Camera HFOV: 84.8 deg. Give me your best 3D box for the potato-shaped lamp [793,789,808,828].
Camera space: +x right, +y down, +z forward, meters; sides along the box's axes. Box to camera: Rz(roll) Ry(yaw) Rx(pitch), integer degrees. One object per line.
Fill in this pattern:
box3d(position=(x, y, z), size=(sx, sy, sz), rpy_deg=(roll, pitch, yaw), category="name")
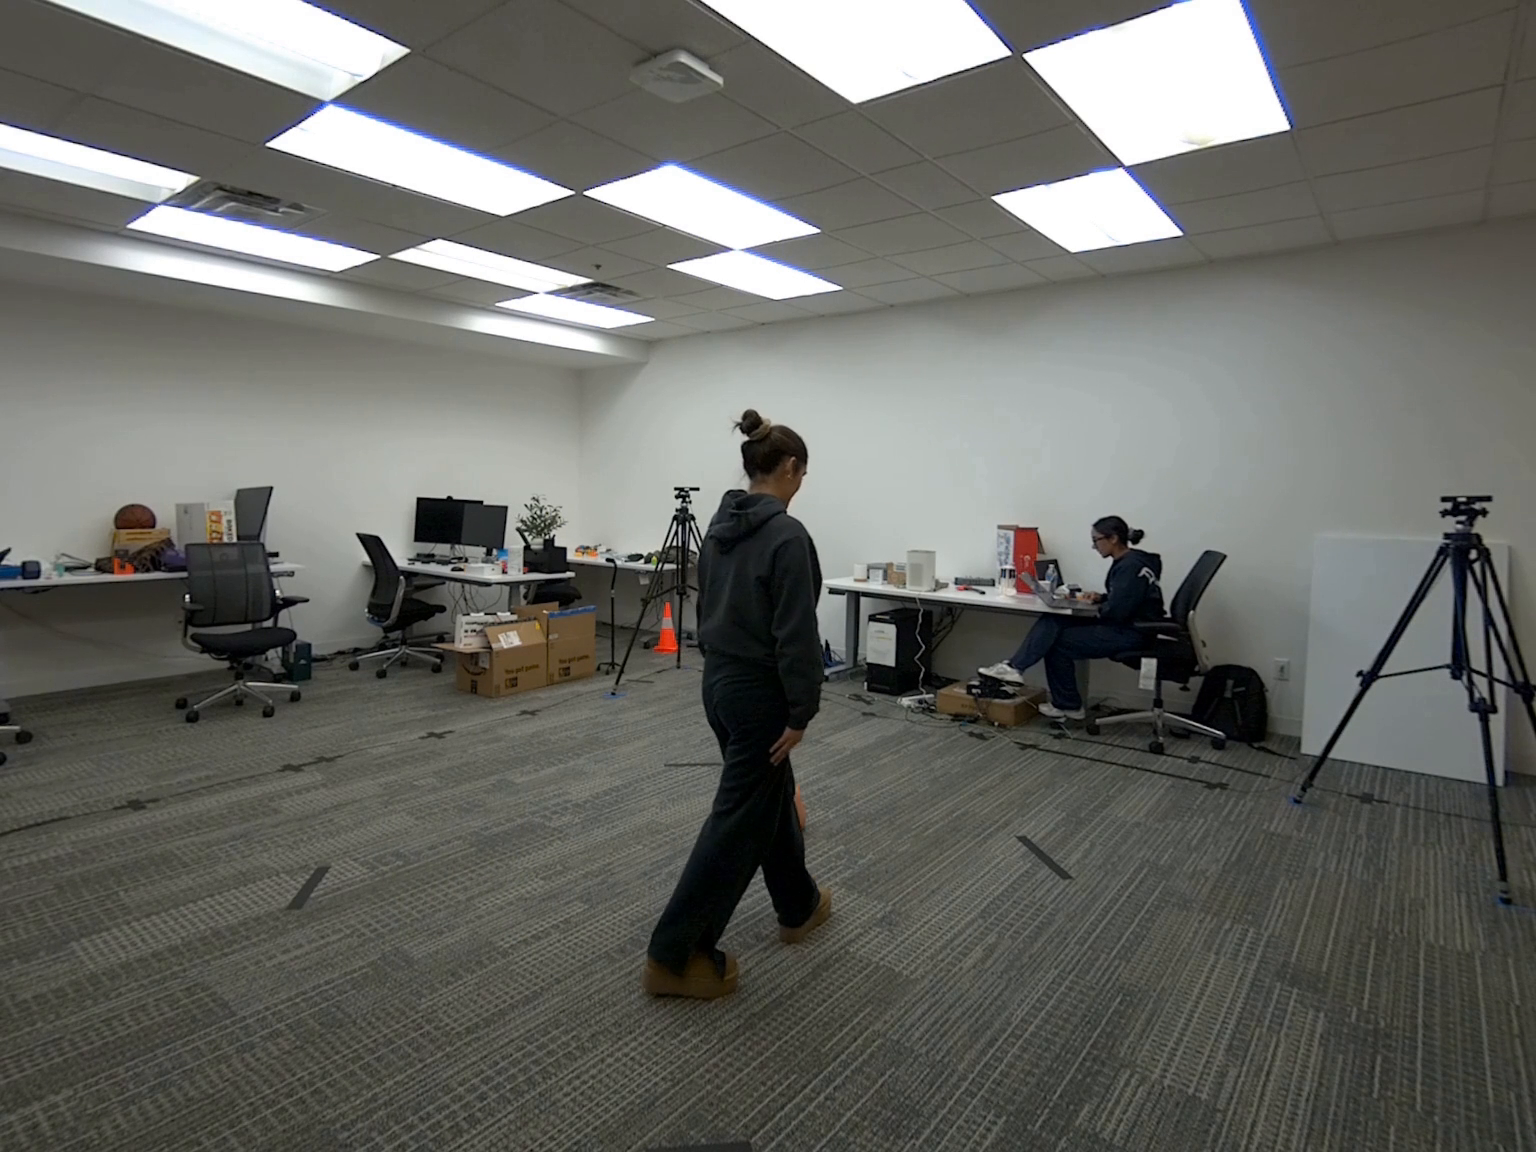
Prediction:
box3d(position=(0.073, 0.932, 3.477), size=(0.170, 0.197, 0.166), rpy_deg=(5, 8, 44), category="potato-shaped lamp")
